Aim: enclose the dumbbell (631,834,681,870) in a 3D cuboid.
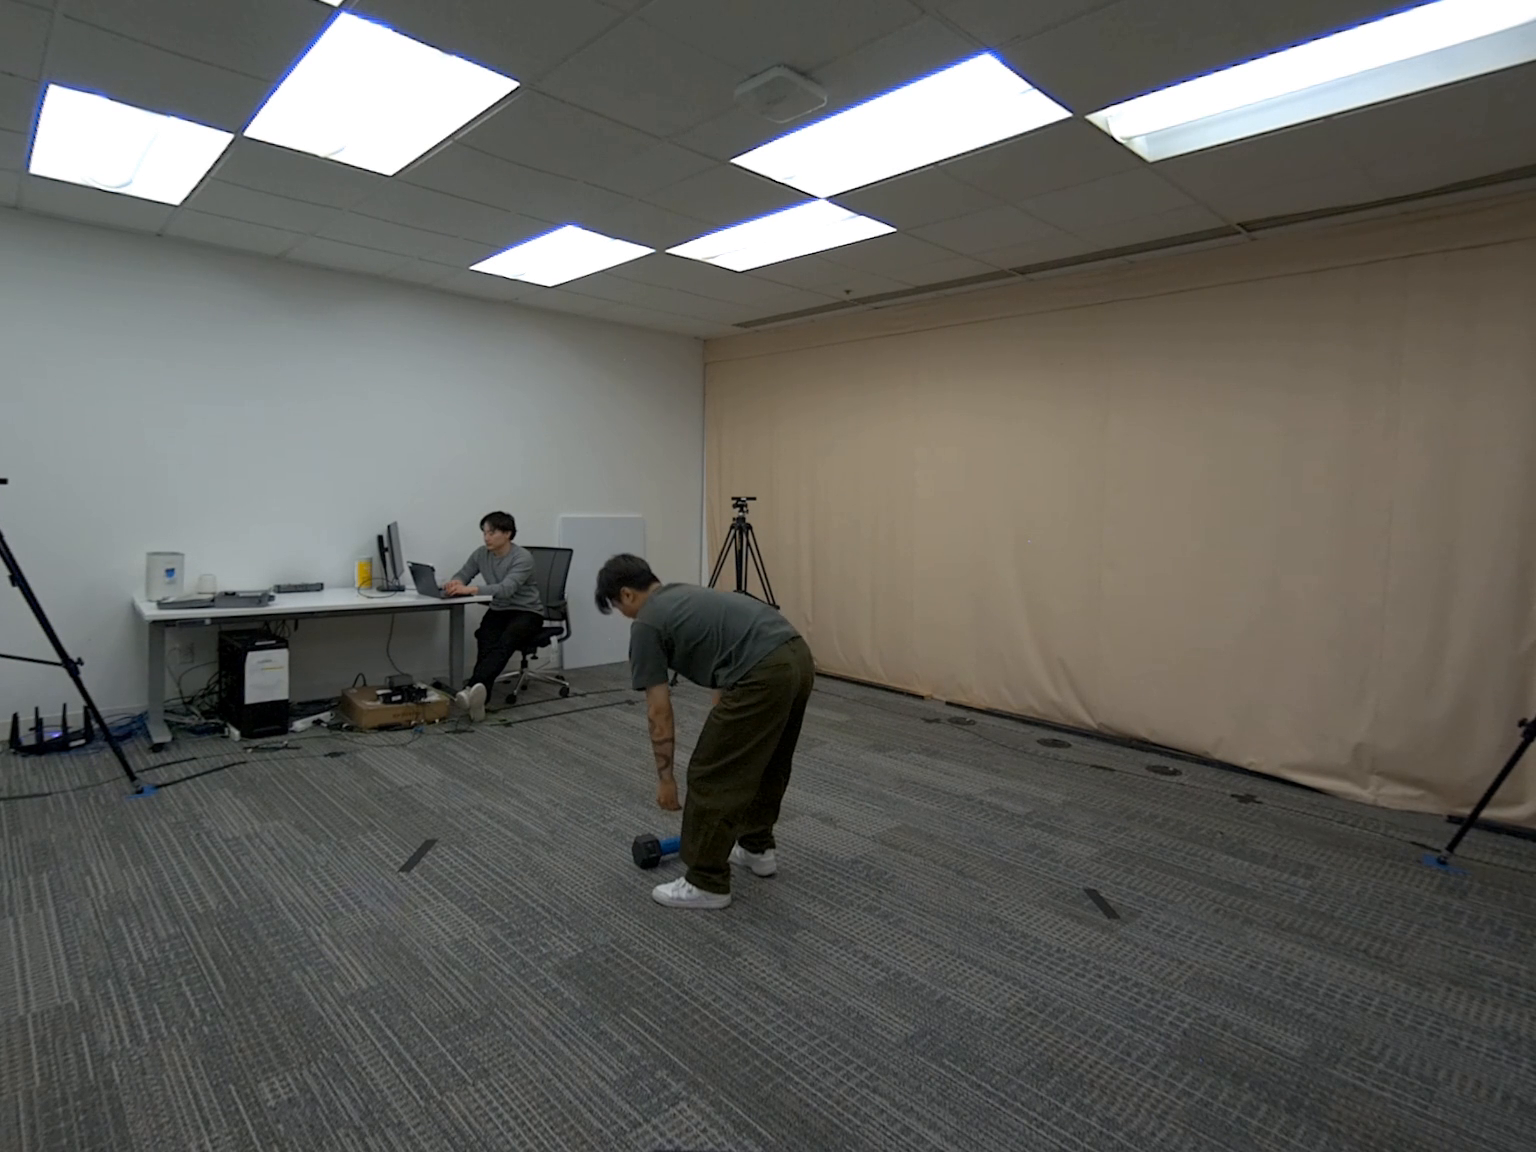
[{"bbox_3d":[-0.375,1.030,3.235,0.288,0.125,0.108,-3,-28,-30],"label":"dumbbell"}]
